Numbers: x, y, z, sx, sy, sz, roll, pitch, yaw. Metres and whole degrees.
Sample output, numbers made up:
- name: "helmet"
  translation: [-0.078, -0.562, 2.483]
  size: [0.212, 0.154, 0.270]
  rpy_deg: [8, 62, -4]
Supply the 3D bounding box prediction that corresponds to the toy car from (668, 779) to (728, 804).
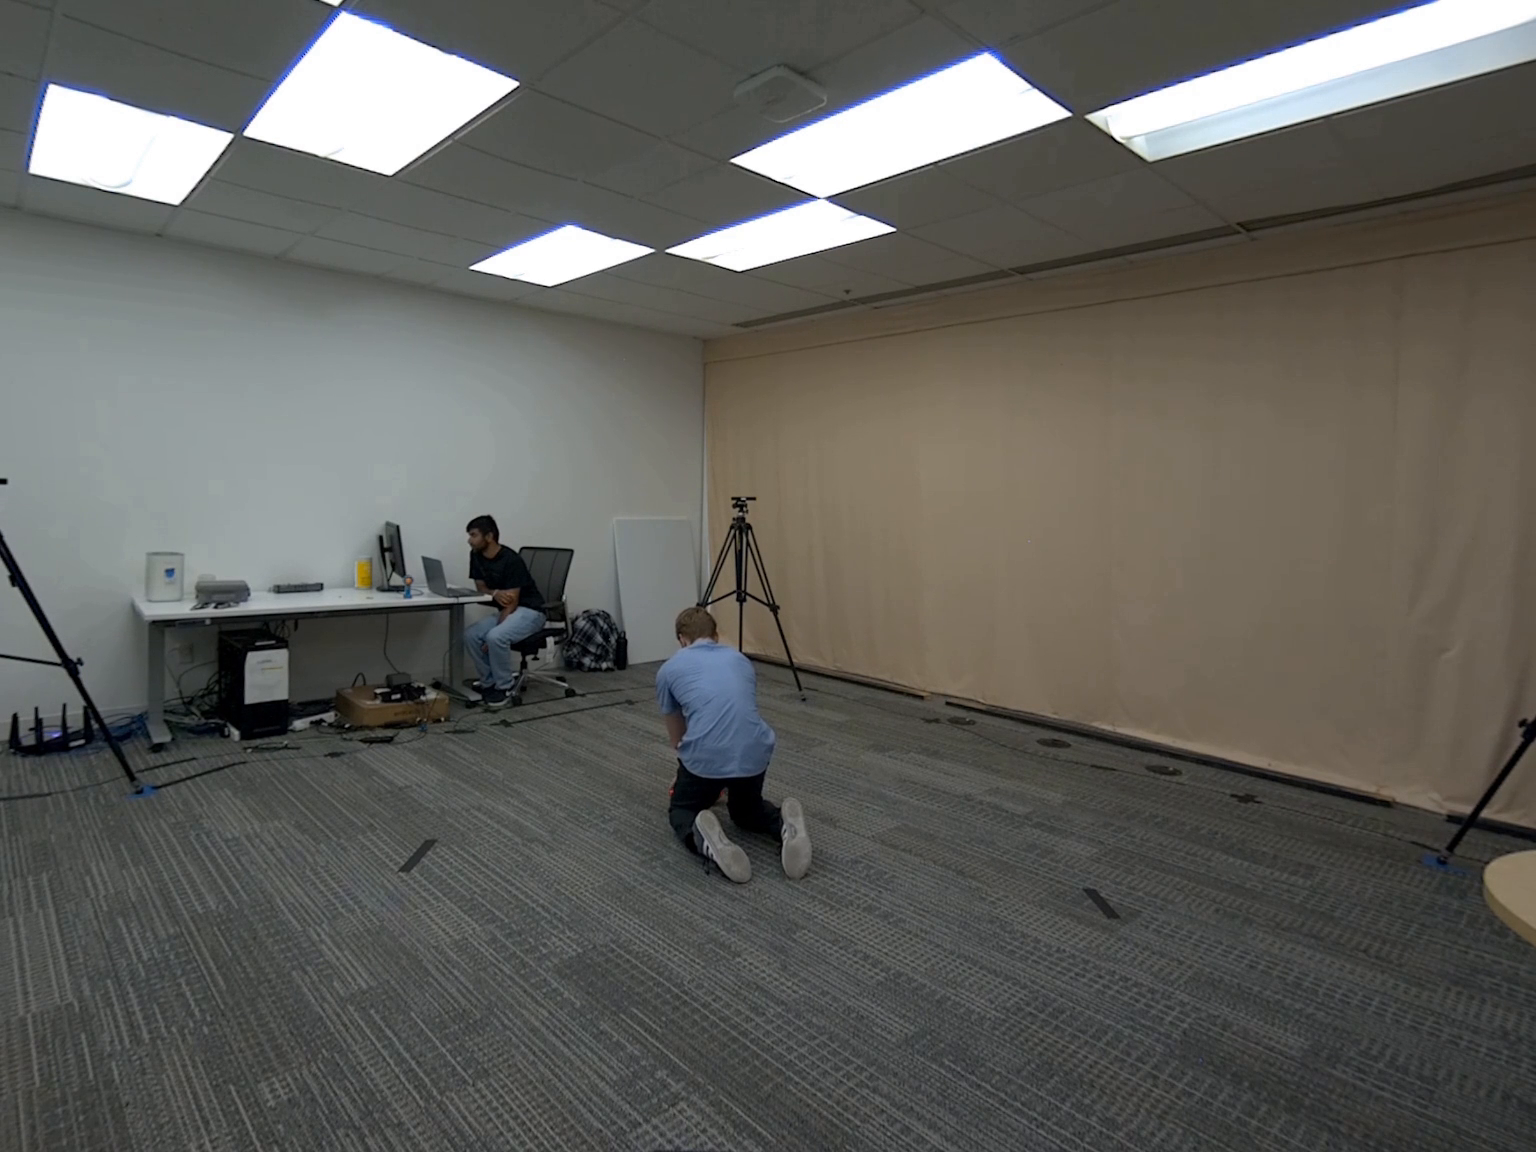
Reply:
- name: "toy car"
  translation: [-0.329, 1.009, 3.865]
  size: [0.257, 0.083, 0.129]
  rpy_deg: [-10, 1, 15]
